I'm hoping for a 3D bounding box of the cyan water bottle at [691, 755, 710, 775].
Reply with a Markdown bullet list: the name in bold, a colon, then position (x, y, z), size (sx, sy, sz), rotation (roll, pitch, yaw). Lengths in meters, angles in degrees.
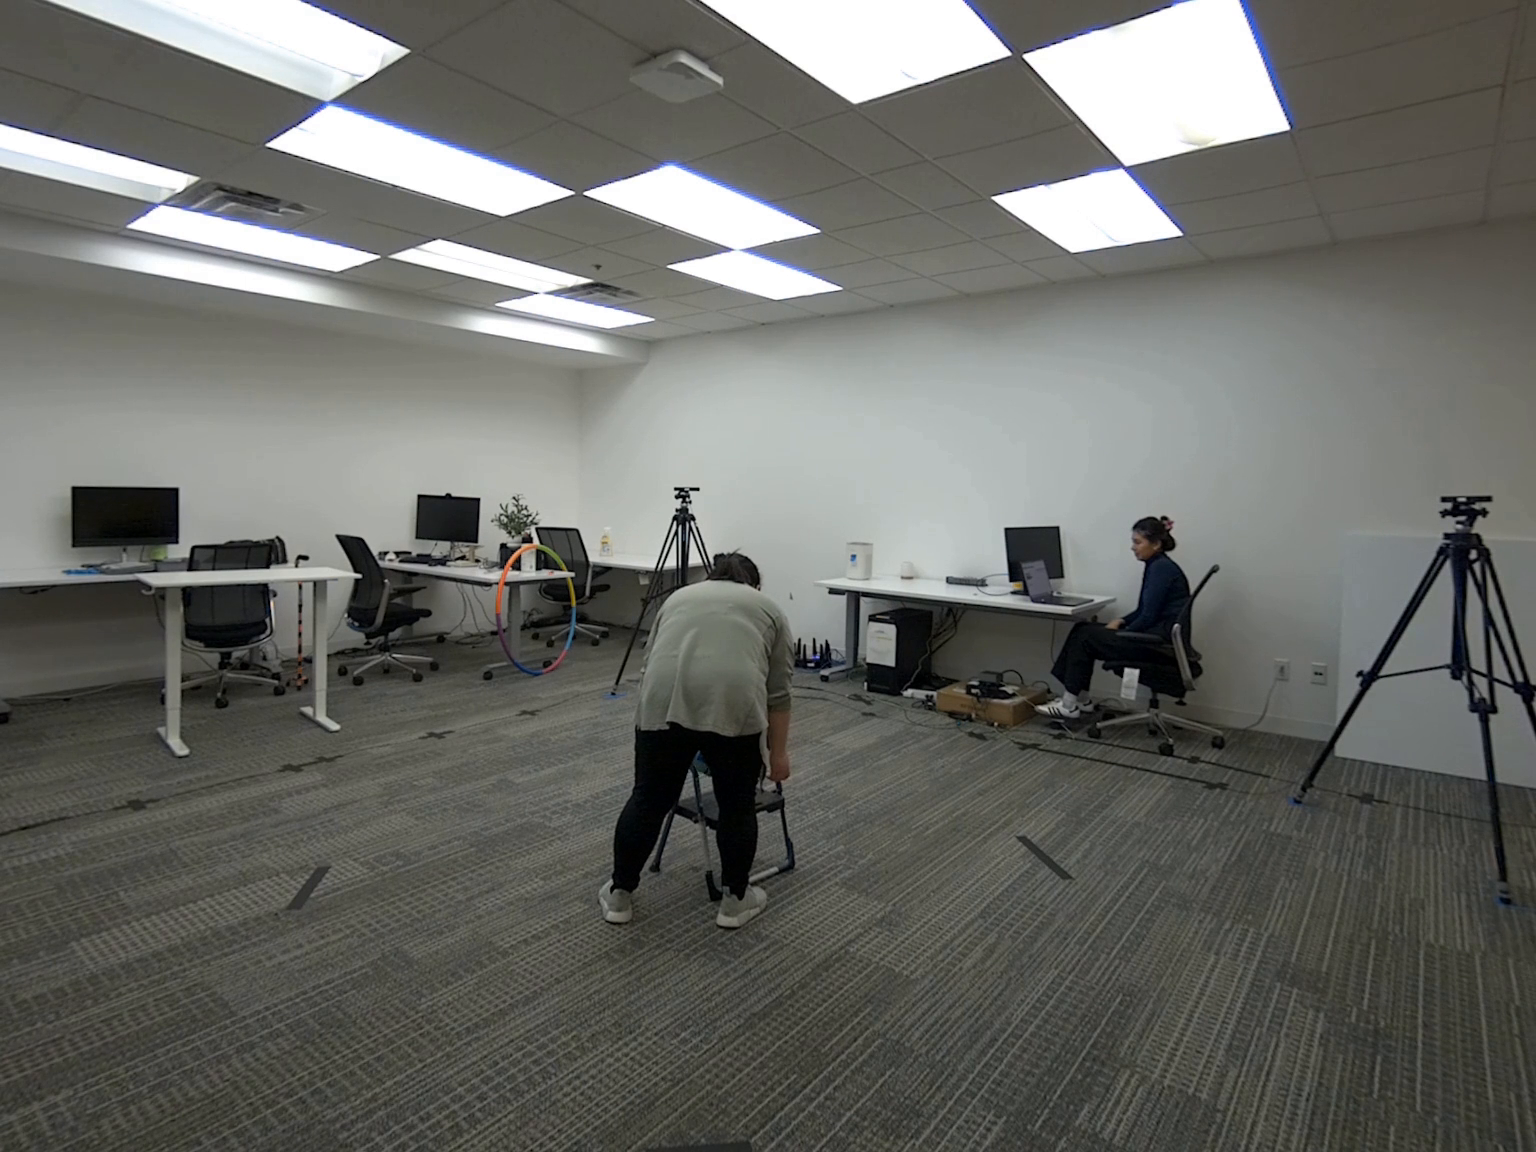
- **cyan water bottle**: position (-0.271, 0.636, 3.099), size (0.282, 0.092, 0.093), rotation (31, 2, -3)
